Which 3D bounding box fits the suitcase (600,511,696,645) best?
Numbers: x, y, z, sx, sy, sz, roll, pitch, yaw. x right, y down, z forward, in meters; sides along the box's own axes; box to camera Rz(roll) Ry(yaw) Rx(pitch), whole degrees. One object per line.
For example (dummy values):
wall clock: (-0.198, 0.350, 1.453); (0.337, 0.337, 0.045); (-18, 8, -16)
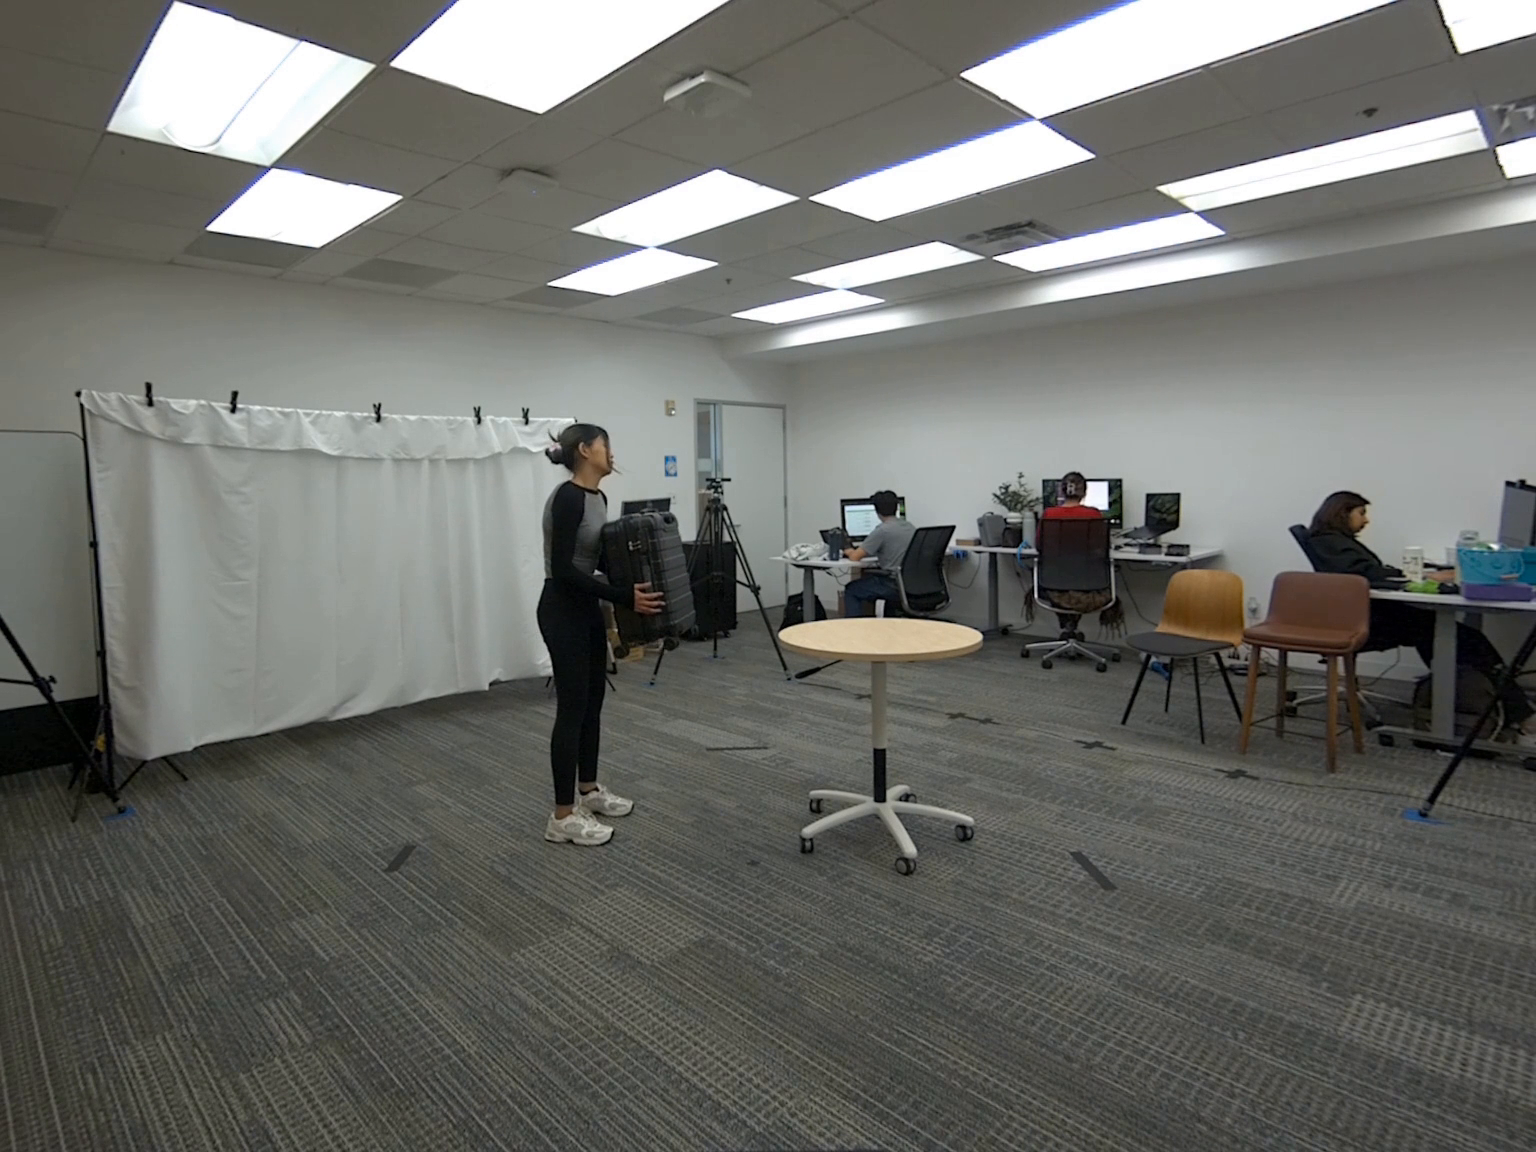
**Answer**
suitcase: (-0.481, 0.011, 3.442); (0.251, 0.548, 0.372); (-7, 3, 12)
